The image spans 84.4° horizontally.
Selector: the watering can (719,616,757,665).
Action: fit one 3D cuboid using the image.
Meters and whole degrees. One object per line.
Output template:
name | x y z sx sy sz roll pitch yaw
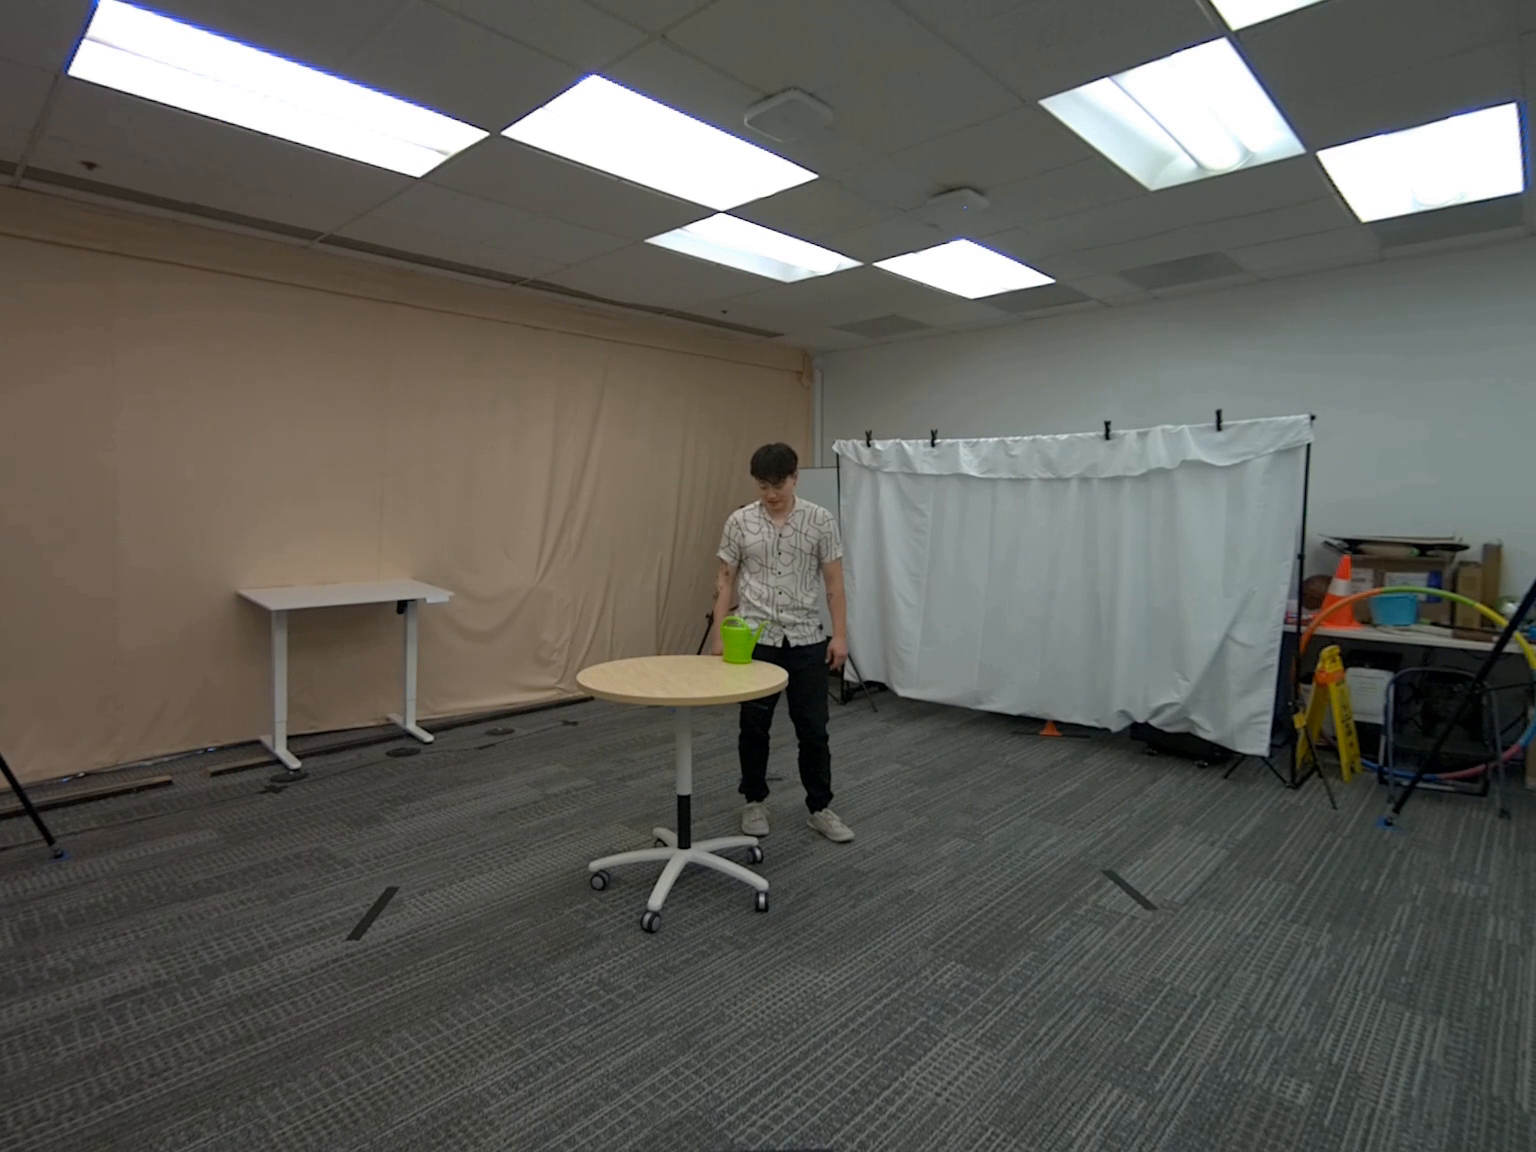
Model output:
watering can | -0.100 0.250 3.262 0.095 0.176 0.286 -5 3 -28
